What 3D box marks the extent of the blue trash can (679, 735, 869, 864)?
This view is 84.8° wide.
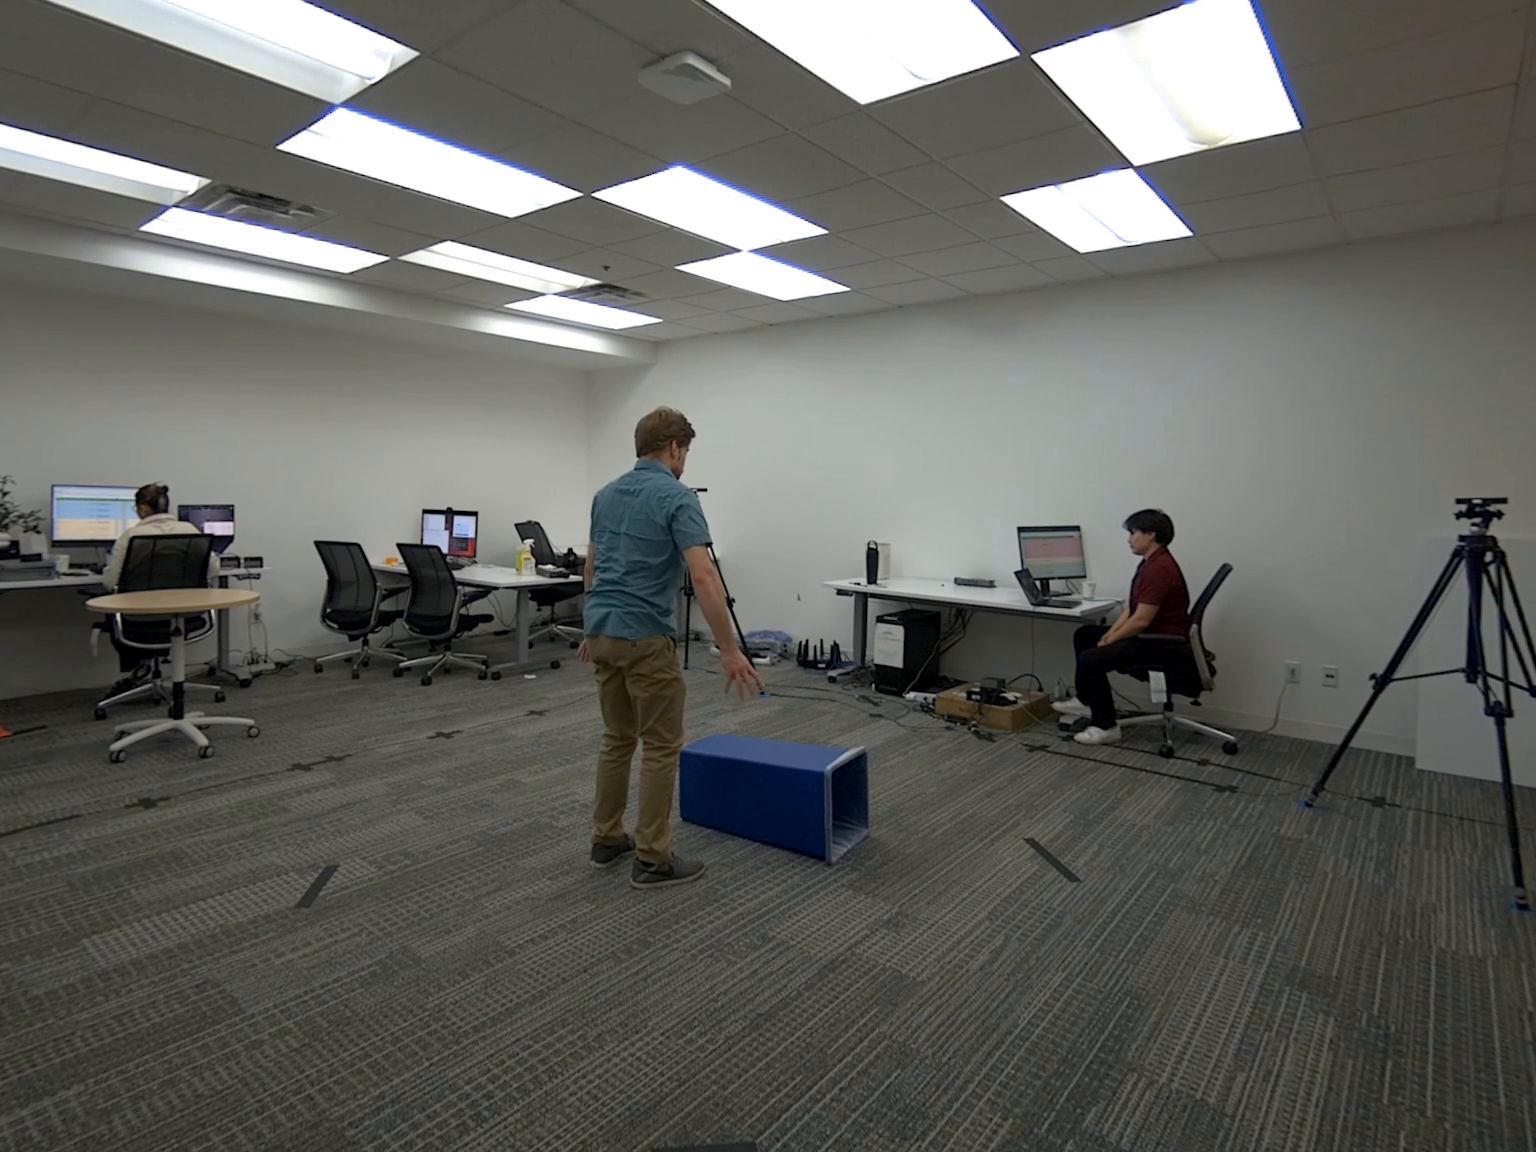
[{"bbox_3d":[0.002,0.873,3.484,0.734,0.377,0.364,1,4,32],"label":"blue trash can"}]
